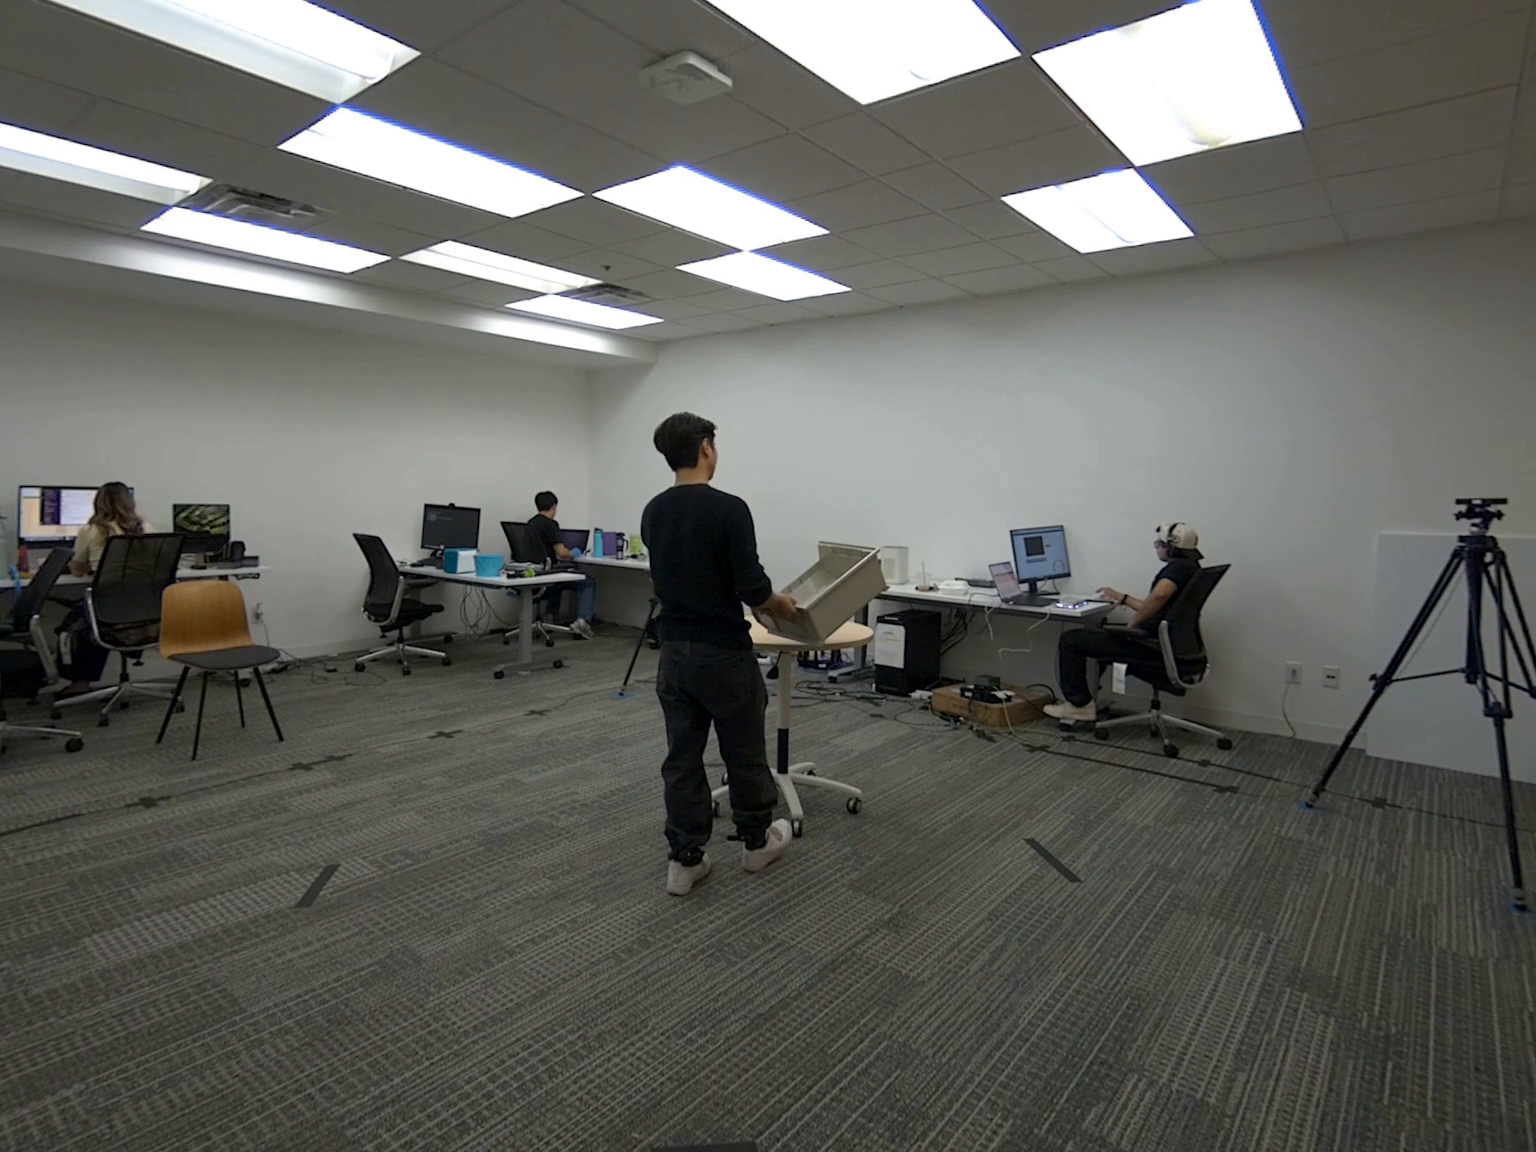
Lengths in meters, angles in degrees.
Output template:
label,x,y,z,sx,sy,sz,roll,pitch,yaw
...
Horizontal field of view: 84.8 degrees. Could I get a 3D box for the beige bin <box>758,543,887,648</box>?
label,x,y,z,sx,sy,sz,roll,pitch,yaw
beige bin,0.183,0.056,3.335,0.419,0.184,0.390,-36,26,-28
